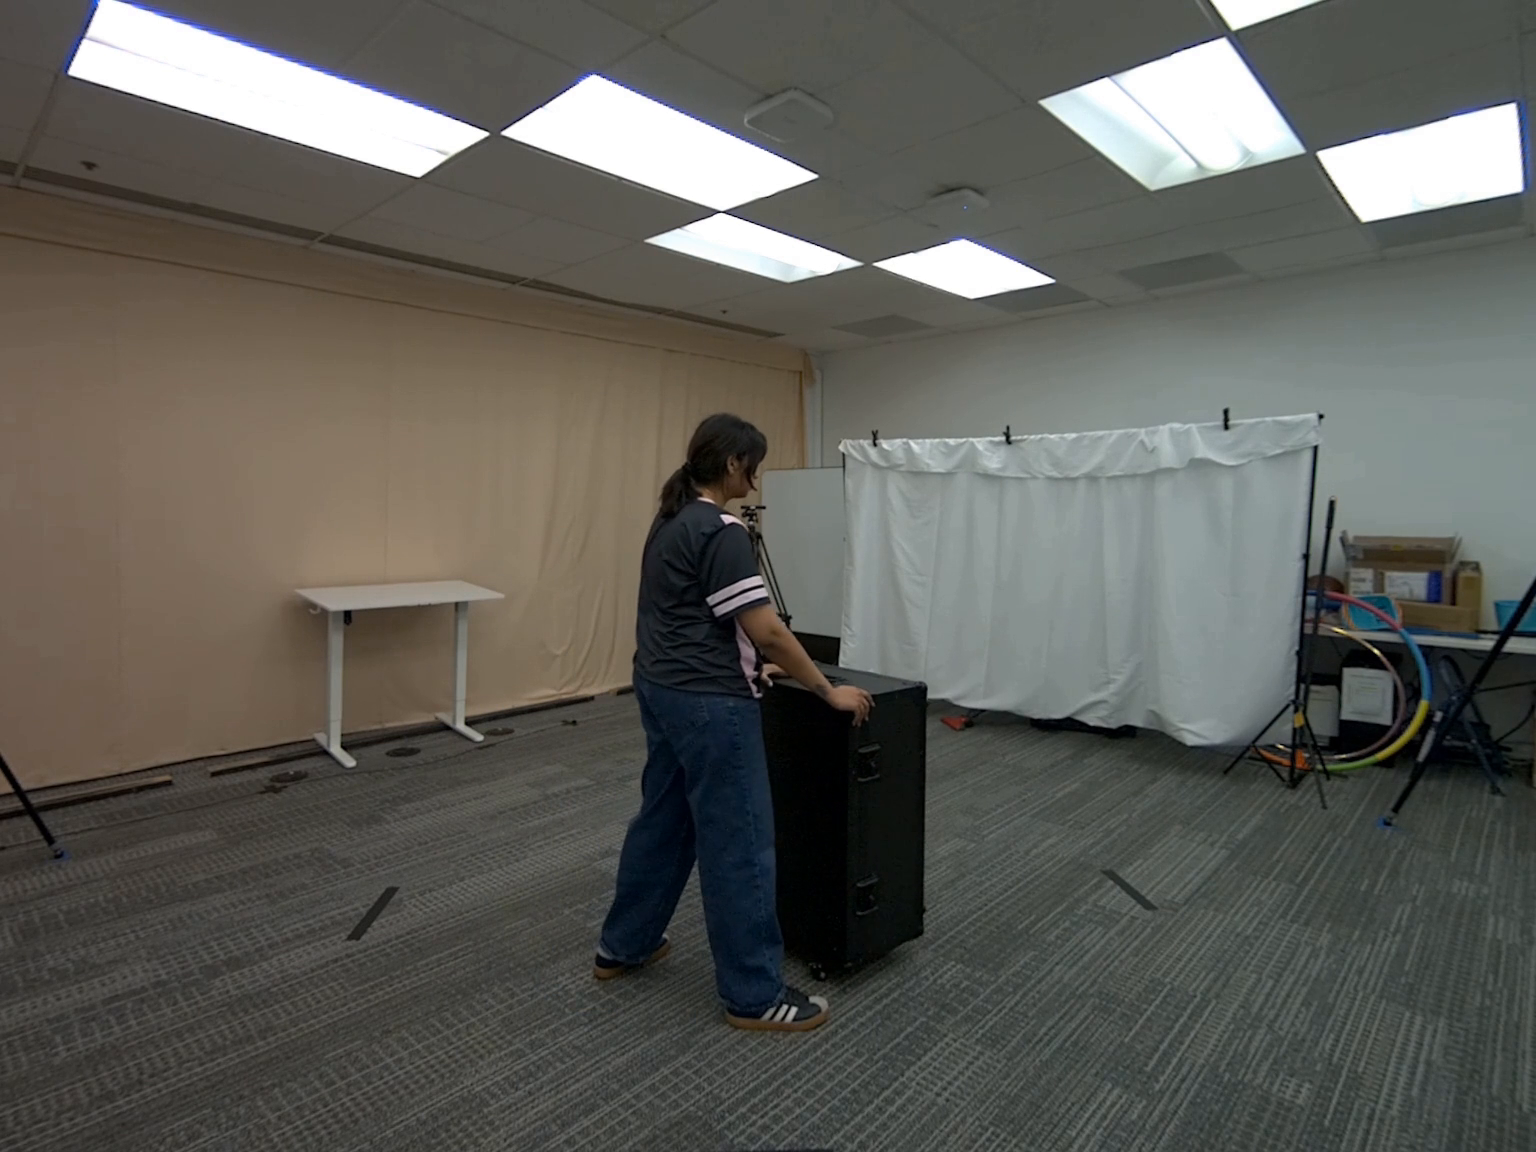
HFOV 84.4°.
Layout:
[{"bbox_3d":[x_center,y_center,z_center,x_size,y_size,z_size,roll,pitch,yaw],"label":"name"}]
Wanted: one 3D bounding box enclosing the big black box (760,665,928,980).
[{"bbox_3d":[0.198,0.750,2.667,0.373,0.867,0.541,-2,4,-41],"label":"big black box"}]
